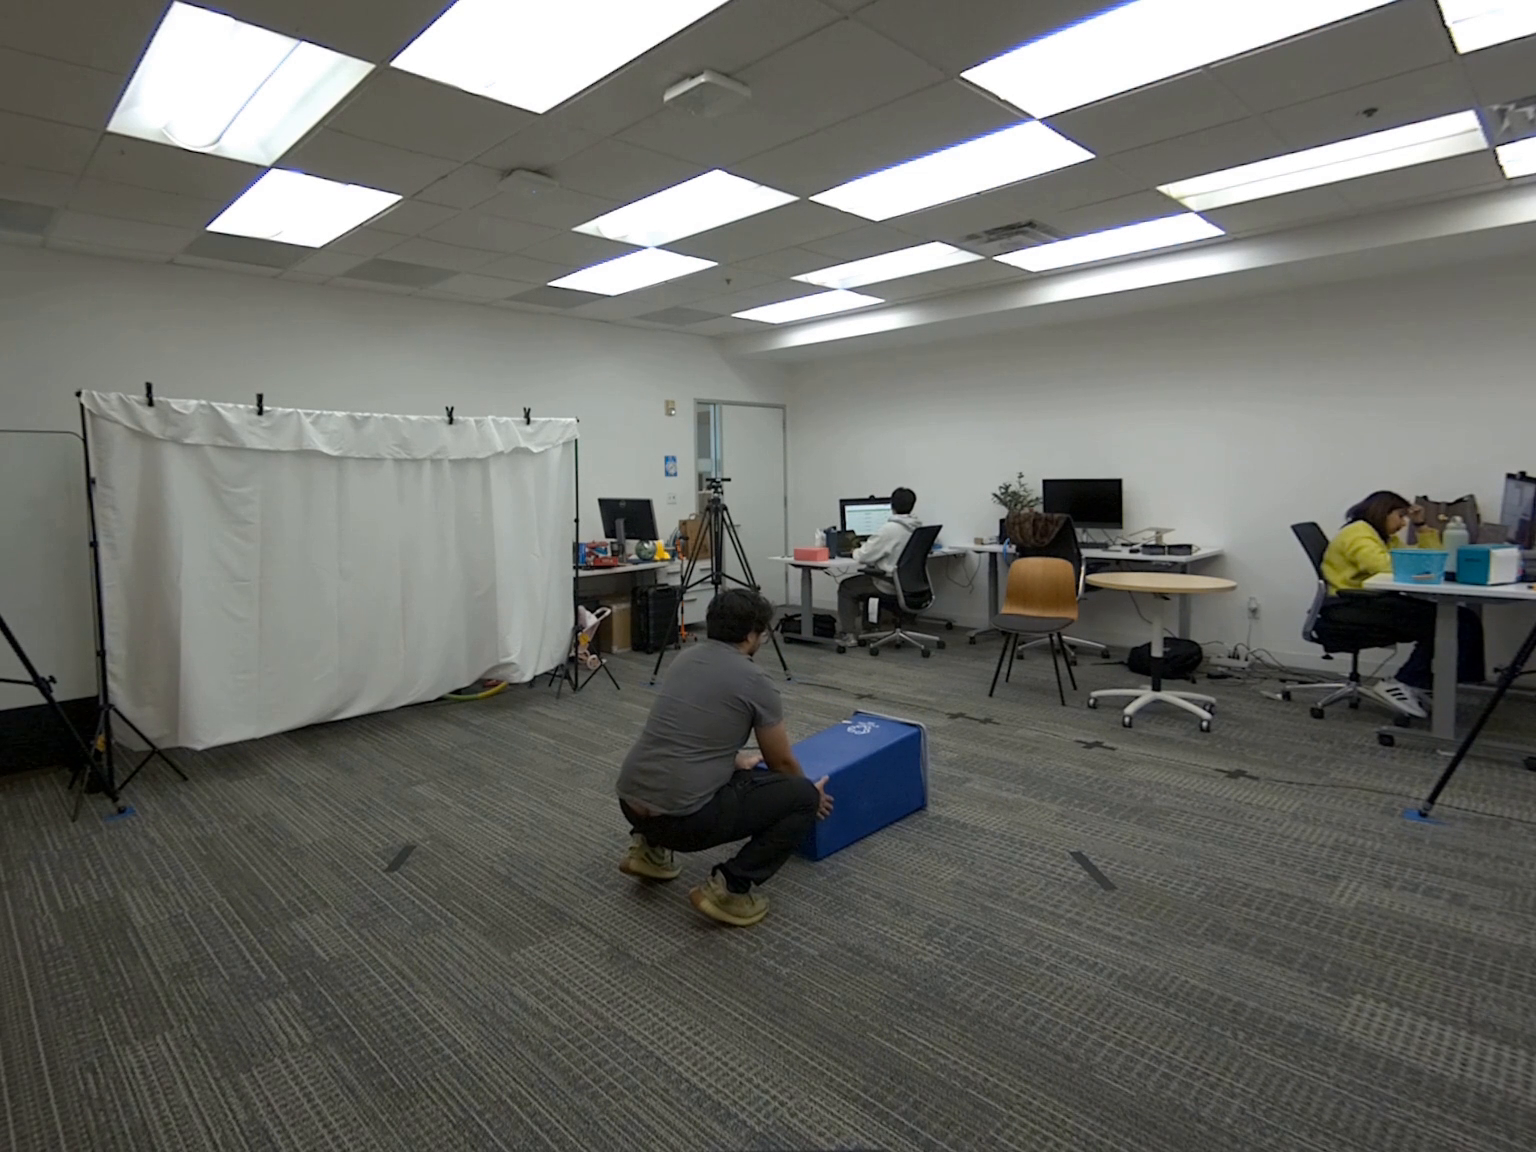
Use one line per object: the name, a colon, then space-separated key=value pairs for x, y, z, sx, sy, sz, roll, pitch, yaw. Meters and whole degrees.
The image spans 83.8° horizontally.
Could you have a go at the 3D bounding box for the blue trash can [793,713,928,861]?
blue trash can: x=0.302 y=0.833 z=3.431 sx=0.385 sy=0.375 sz=0.697 roll=4 pitch=10 yaw=42
